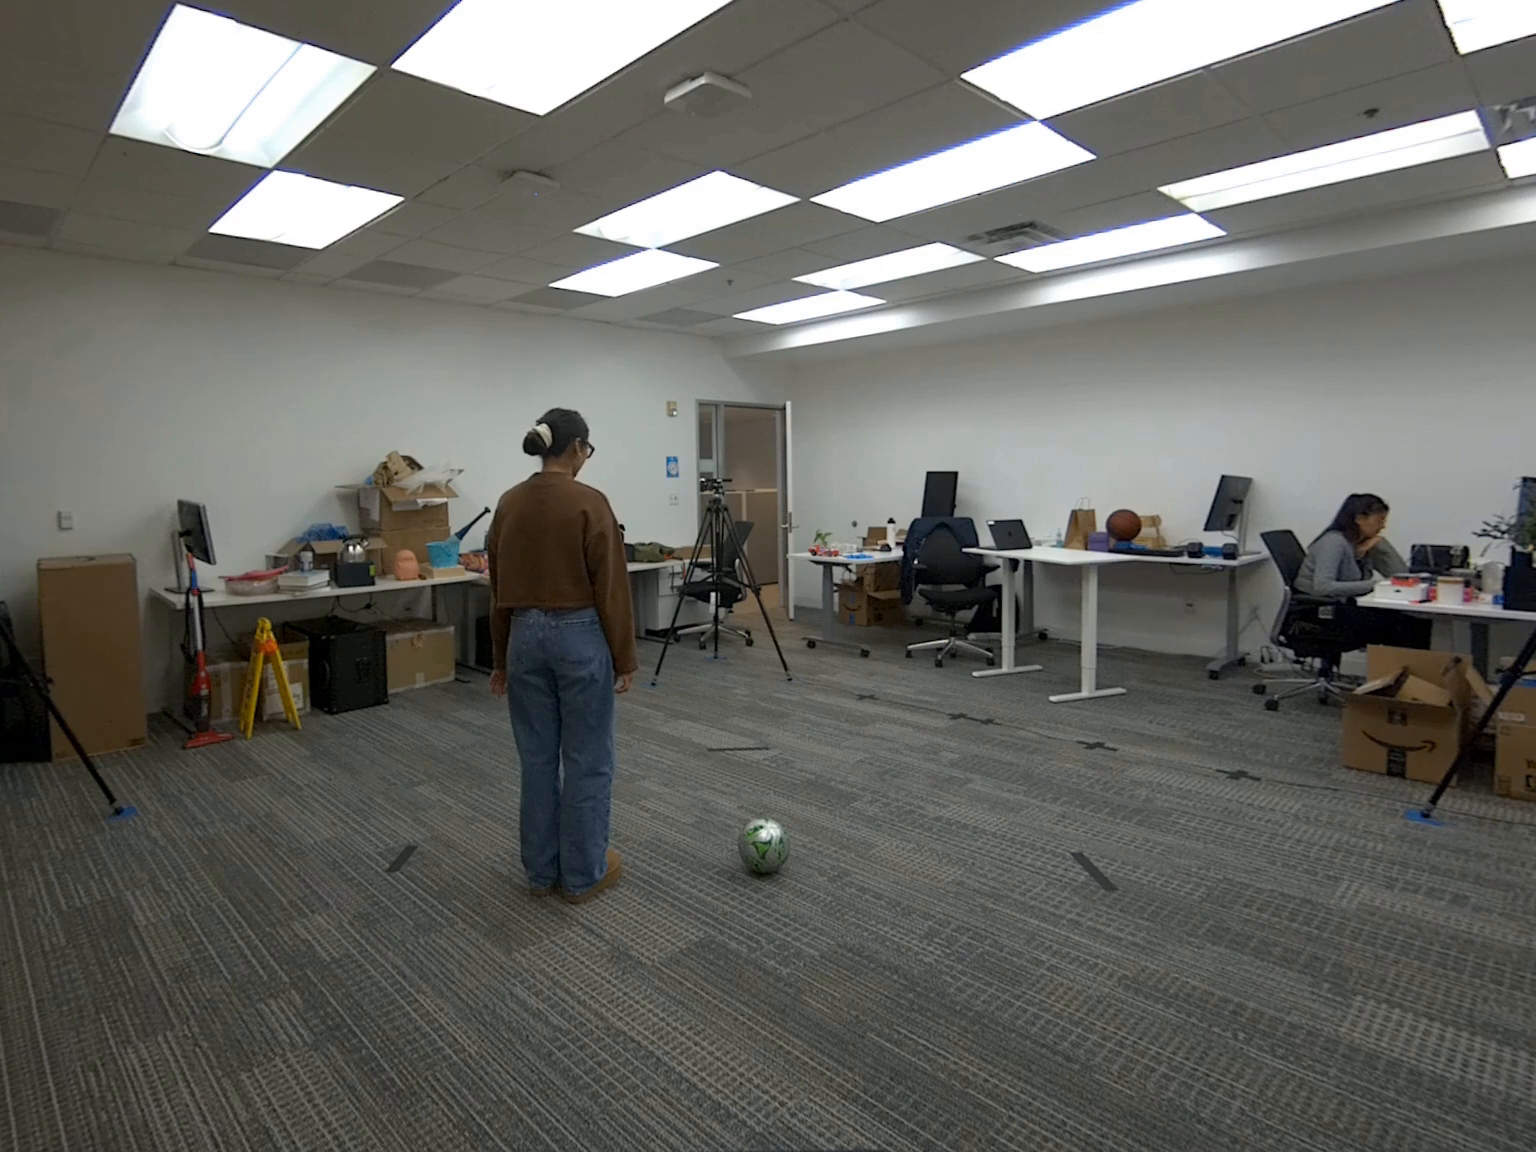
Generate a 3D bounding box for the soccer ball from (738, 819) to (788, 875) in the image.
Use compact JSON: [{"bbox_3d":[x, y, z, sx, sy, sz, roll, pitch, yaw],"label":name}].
[{"bbox_3d":[-0.008,0.954,3.042,0.187,0.187,0.188,-1,5,-2],"label":"soccer ball"}]
